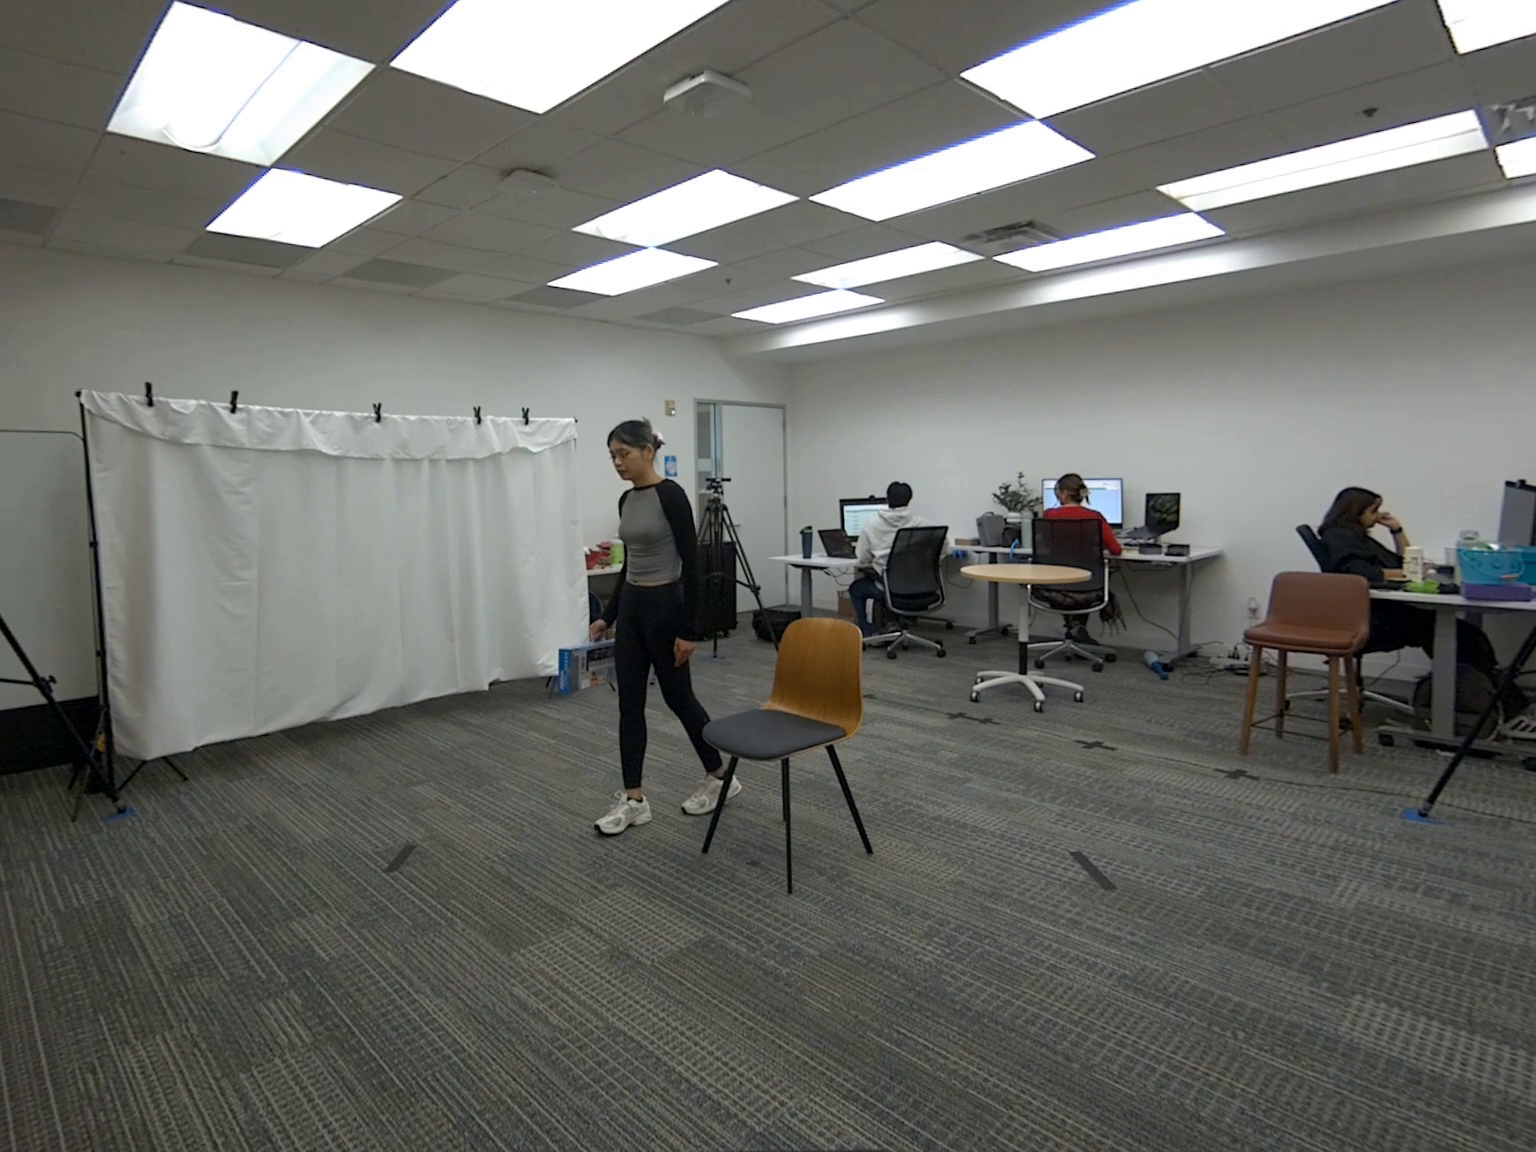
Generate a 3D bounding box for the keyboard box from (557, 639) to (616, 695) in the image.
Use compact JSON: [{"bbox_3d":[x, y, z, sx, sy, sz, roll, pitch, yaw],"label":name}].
[{"bbox_3d":[-0.700,0.361,3.533,0.060,0.176,0.427,1,2,25],"label":"keyboard box"}]
